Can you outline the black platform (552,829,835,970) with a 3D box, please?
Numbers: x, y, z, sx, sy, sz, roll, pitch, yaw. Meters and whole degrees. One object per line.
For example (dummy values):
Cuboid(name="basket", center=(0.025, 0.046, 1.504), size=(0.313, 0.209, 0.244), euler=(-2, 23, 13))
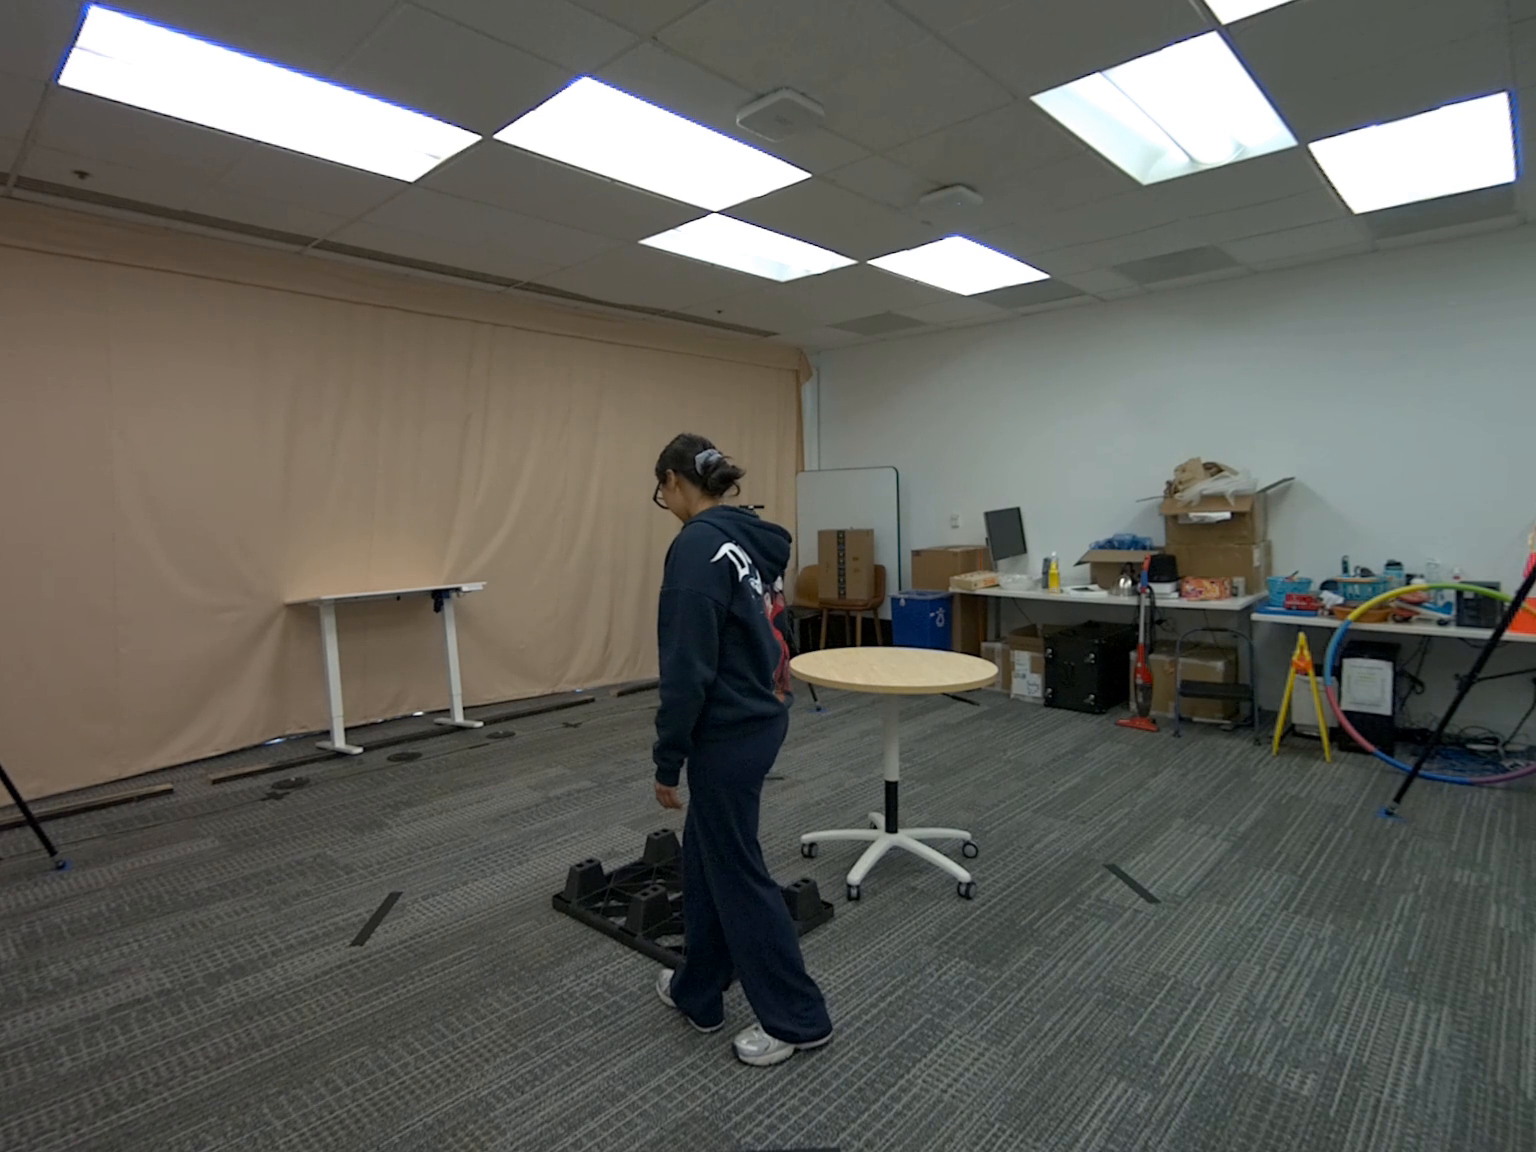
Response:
Cuboid(name="black platform", center=(-0.260, 1.090, 2.895), size=(0.832, 0.143, 0.587), euler=(3, 7, 41))
